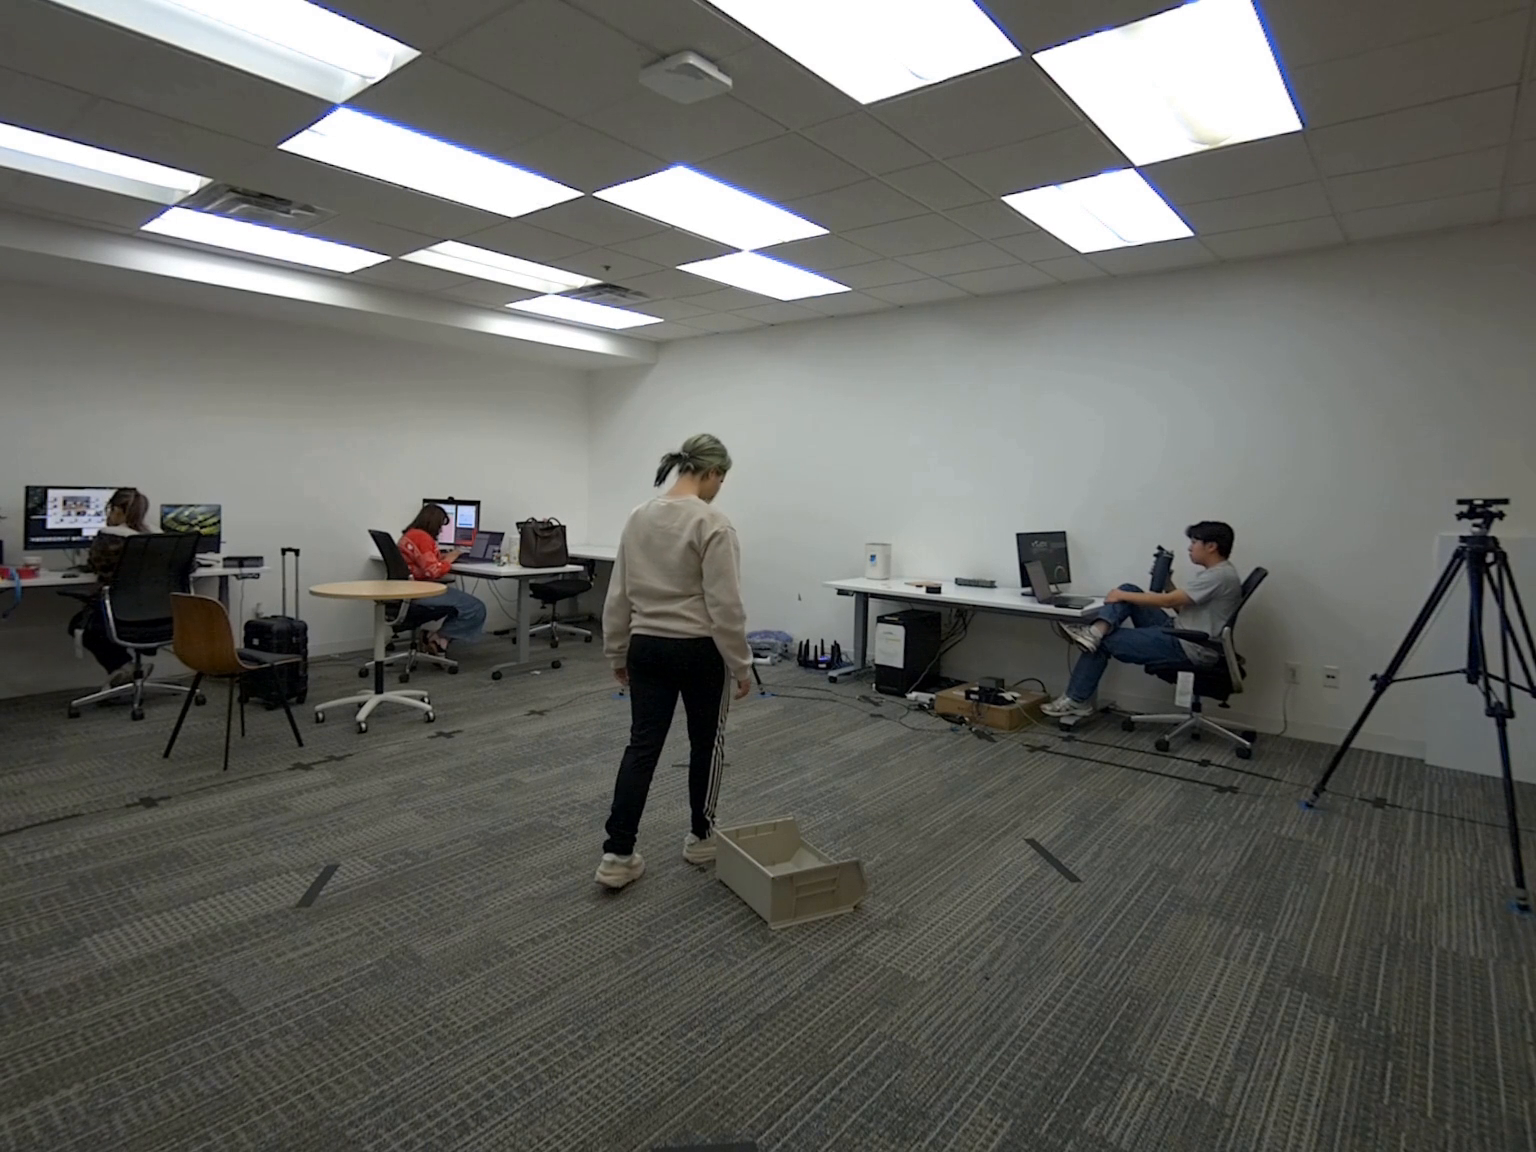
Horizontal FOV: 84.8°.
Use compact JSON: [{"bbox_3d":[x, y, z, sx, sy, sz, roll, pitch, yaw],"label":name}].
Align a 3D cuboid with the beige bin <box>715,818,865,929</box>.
[{"bbox_3d":[0.064,1.005,2.934,0.368,0.188,0.435,-3,7,-29],"label":"beige bin"}]
